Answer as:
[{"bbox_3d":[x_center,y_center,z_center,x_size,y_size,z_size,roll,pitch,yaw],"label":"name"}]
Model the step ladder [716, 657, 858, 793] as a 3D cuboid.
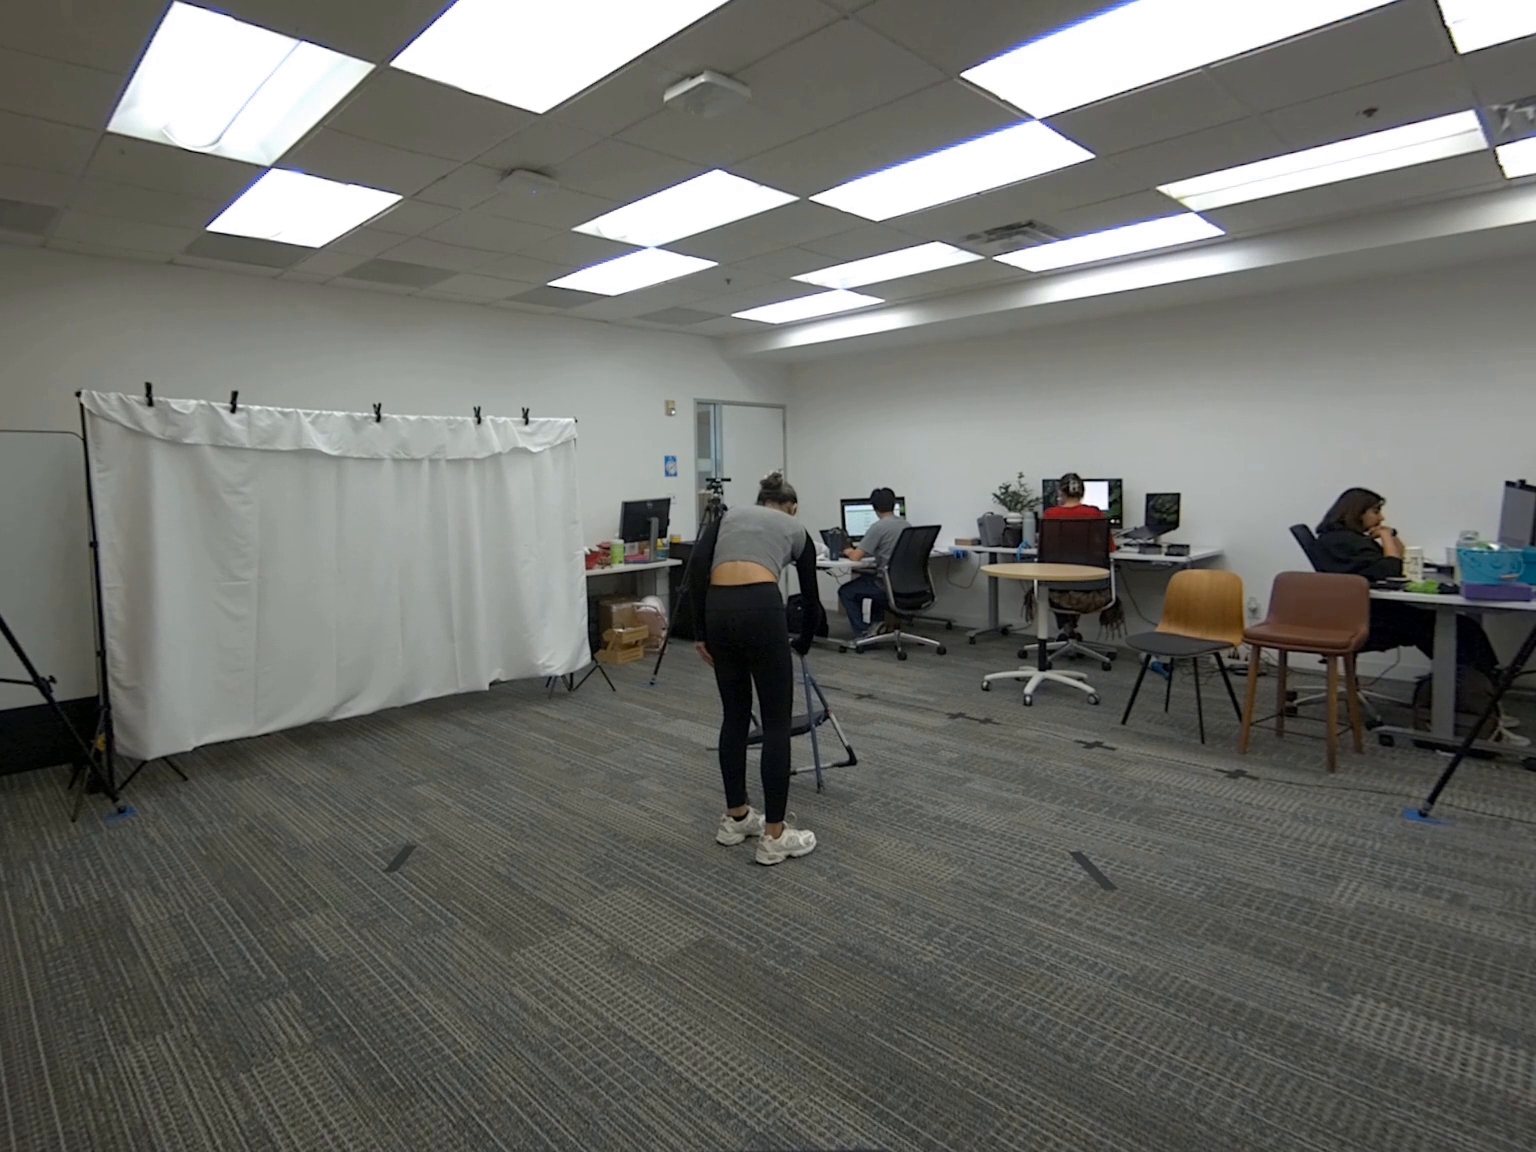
[{"bbox_3d":[0.053,0.610,3.715,0.438,0.609,0.341,-20,-5,35],"label":"step ladder"}]
